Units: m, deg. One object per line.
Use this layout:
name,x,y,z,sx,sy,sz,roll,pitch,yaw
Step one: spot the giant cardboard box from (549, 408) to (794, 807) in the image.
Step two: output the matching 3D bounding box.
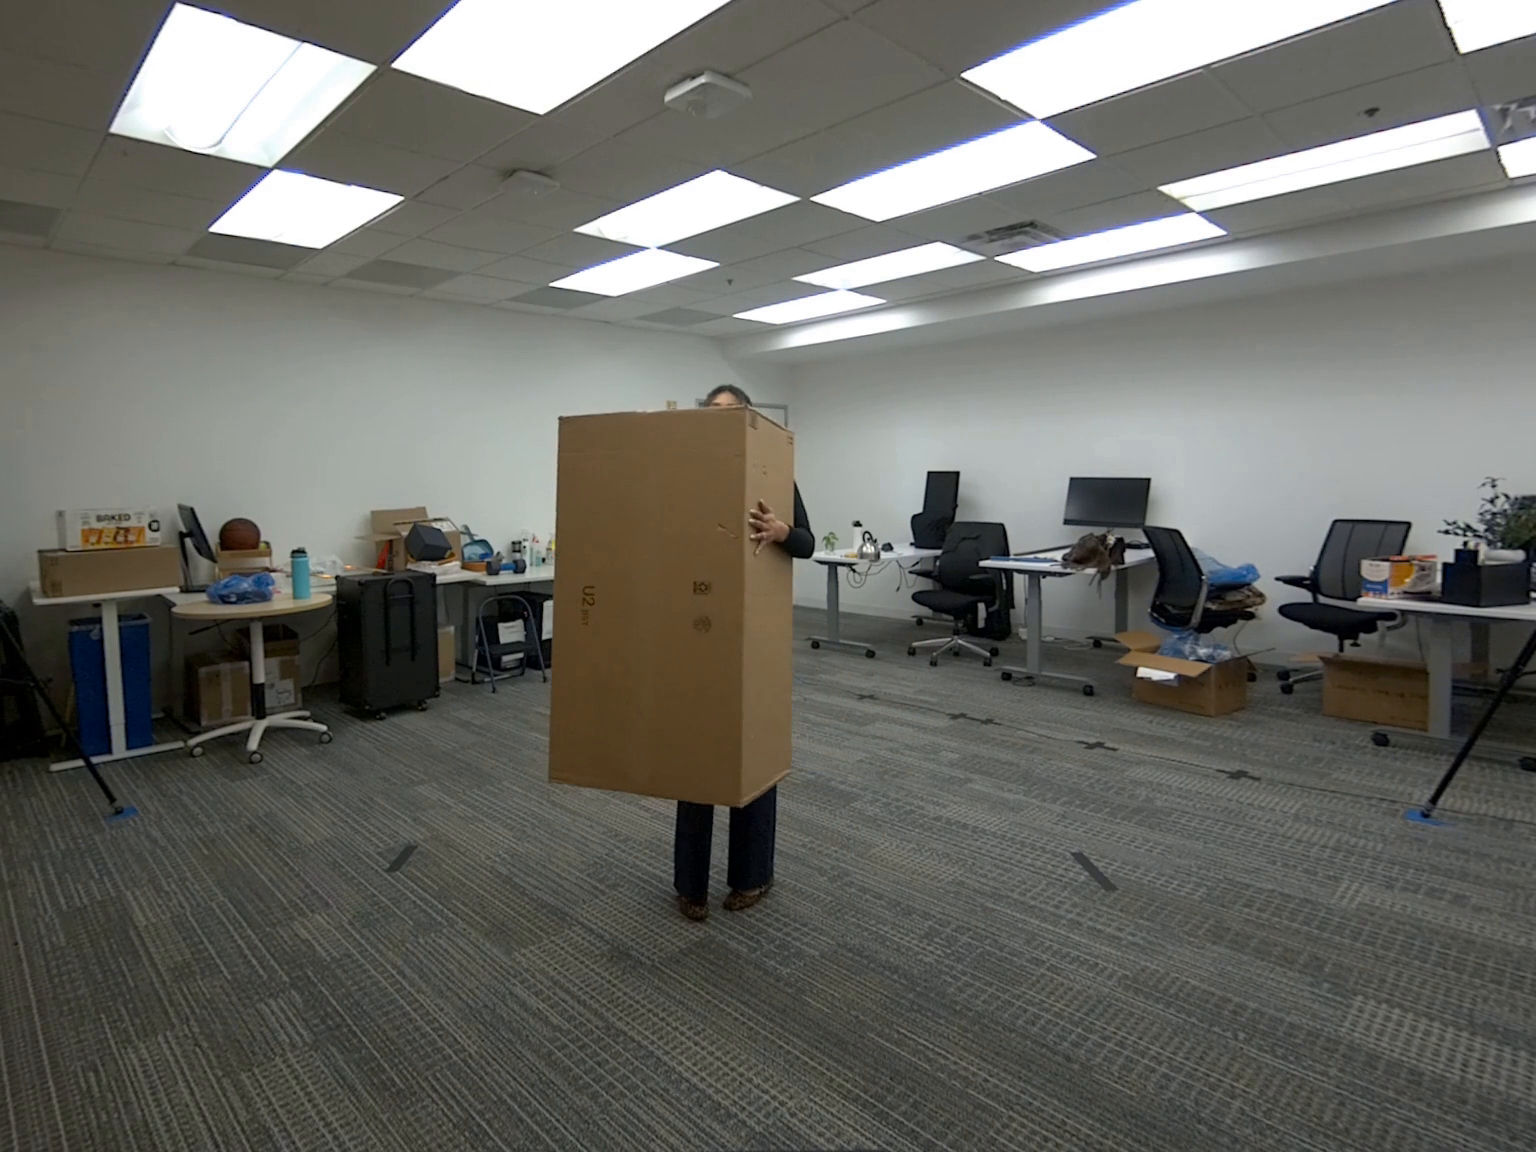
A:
giant cardboard box,-0.262,0.070,2.474,0.589,1.029,0.417,-1,-3,20
